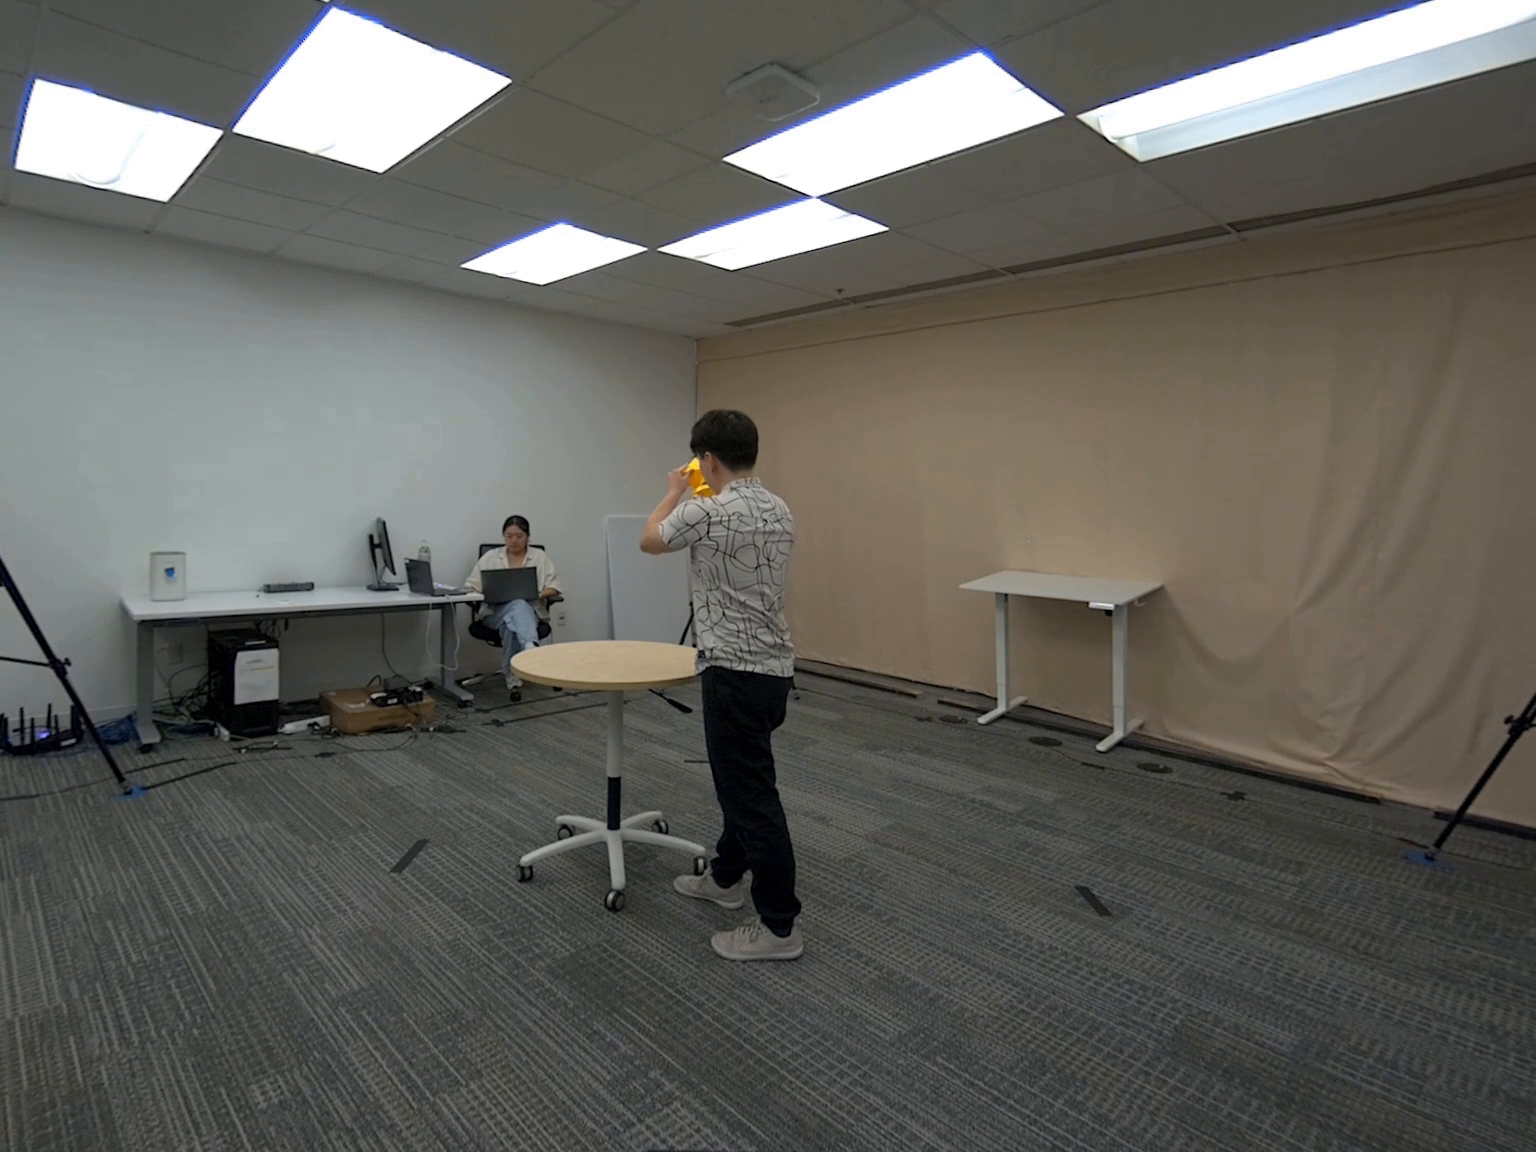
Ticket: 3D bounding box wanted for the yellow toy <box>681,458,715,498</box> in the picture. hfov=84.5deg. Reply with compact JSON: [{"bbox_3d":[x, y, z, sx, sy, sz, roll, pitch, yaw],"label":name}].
[{"bbox_3d":[-0.203,-0.339,2.993,0.204,0.188,0.237,-11,49,-5],"label":"yellow toy"}]
